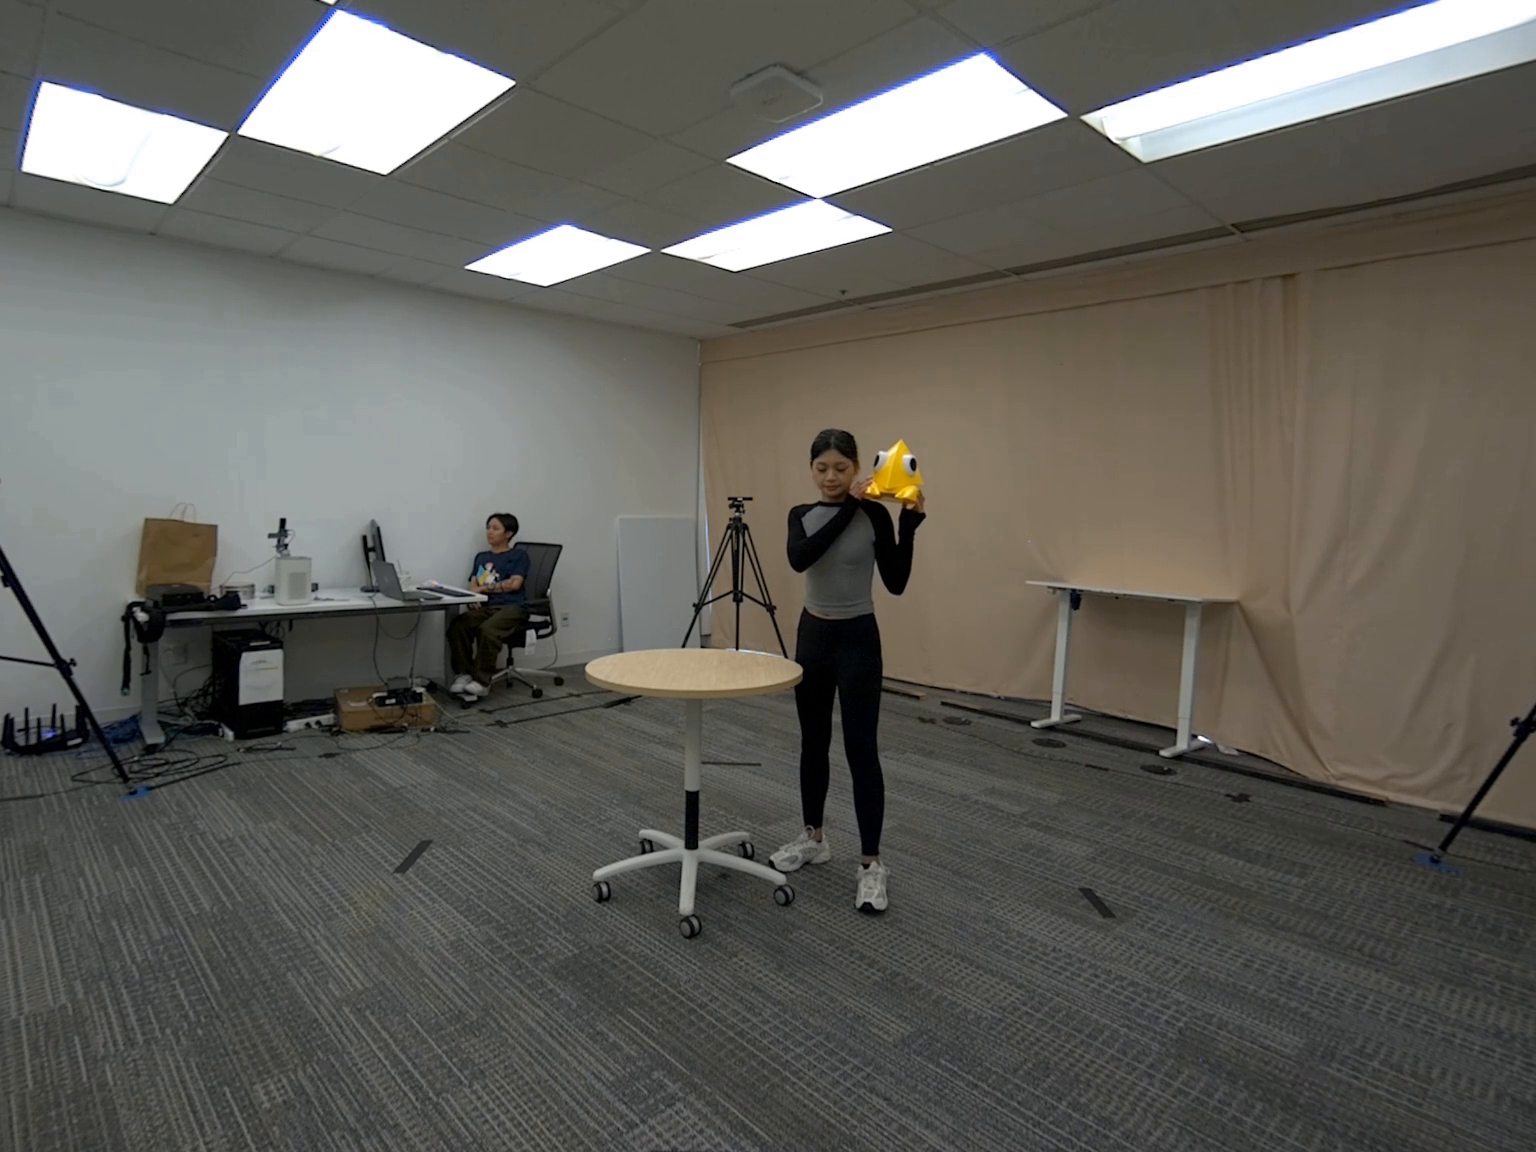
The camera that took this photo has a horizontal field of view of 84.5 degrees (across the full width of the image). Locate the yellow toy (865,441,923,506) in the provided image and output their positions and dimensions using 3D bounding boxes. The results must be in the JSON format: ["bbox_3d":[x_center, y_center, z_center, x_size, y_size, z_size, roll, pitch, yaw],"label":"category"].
[{"bbox_3d":[0.436,-0.387,2.972,0.208,0.231,0.190,9,-3,16],"label":"yellow toy"}]
